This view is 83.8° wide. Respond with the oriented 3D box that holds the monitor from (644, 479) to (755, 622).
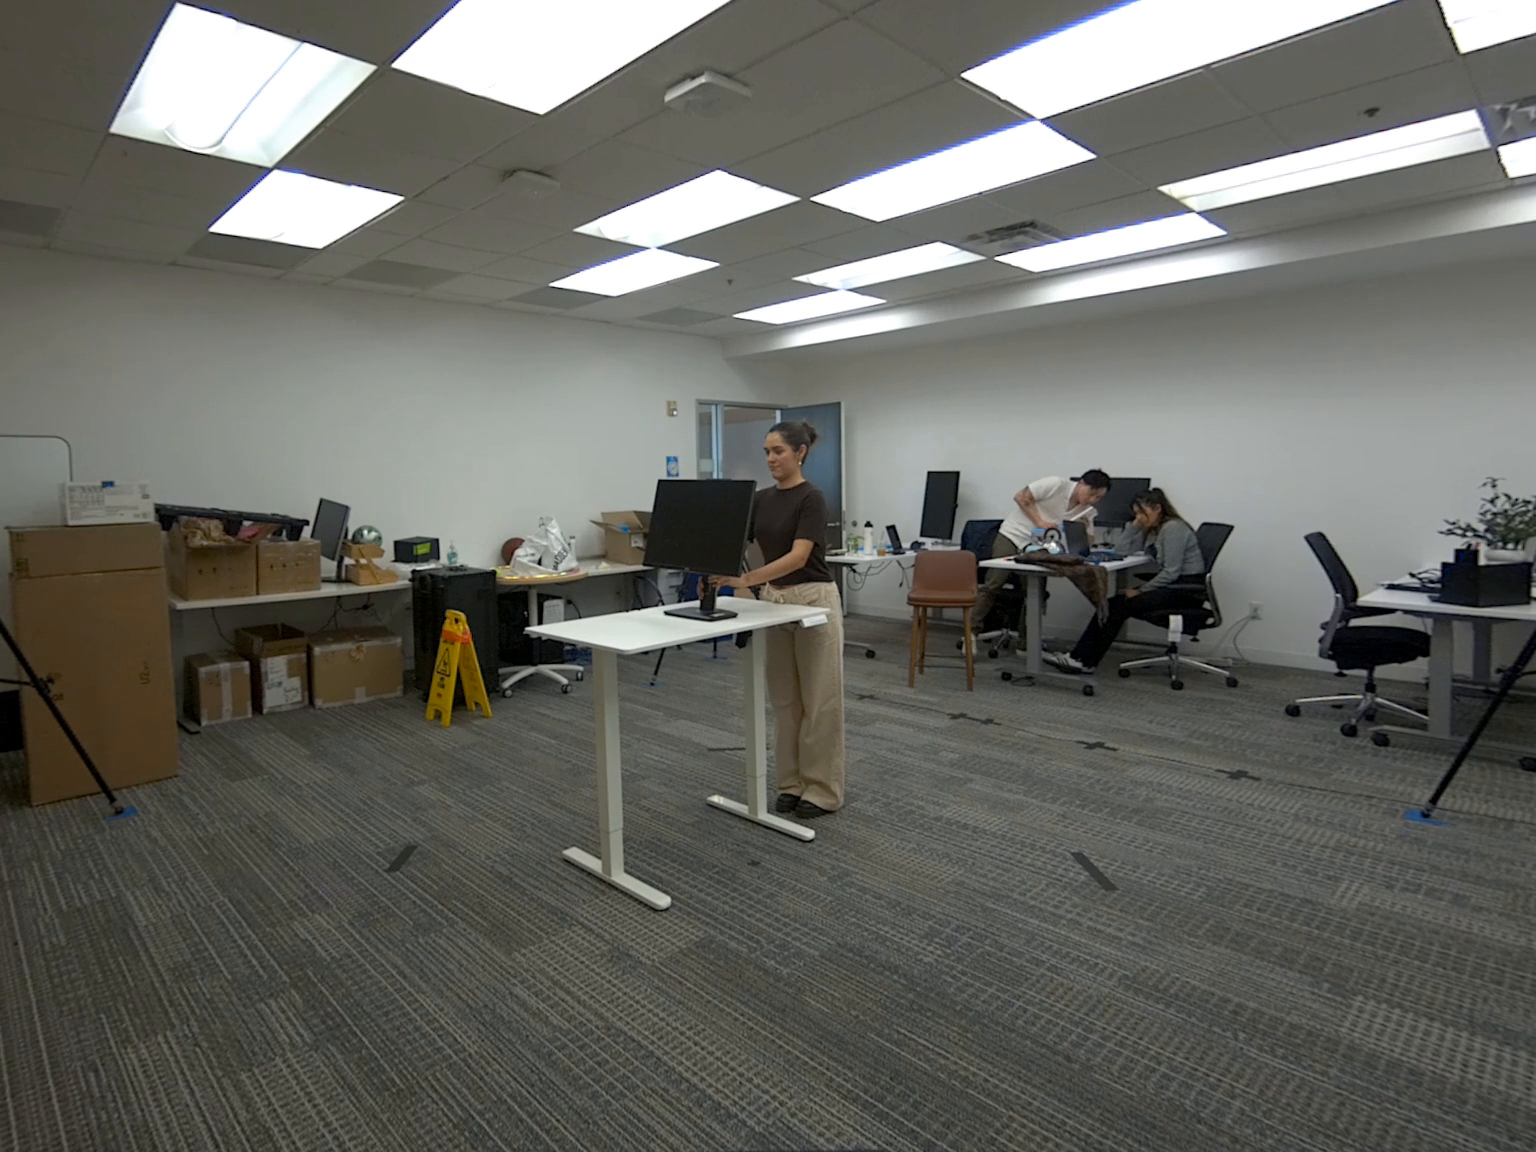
[{"bbox_3d":[-0.248,-0.105,3.228,0.547,0.512,0.170,5,11,43],"label":"monitor"}]
